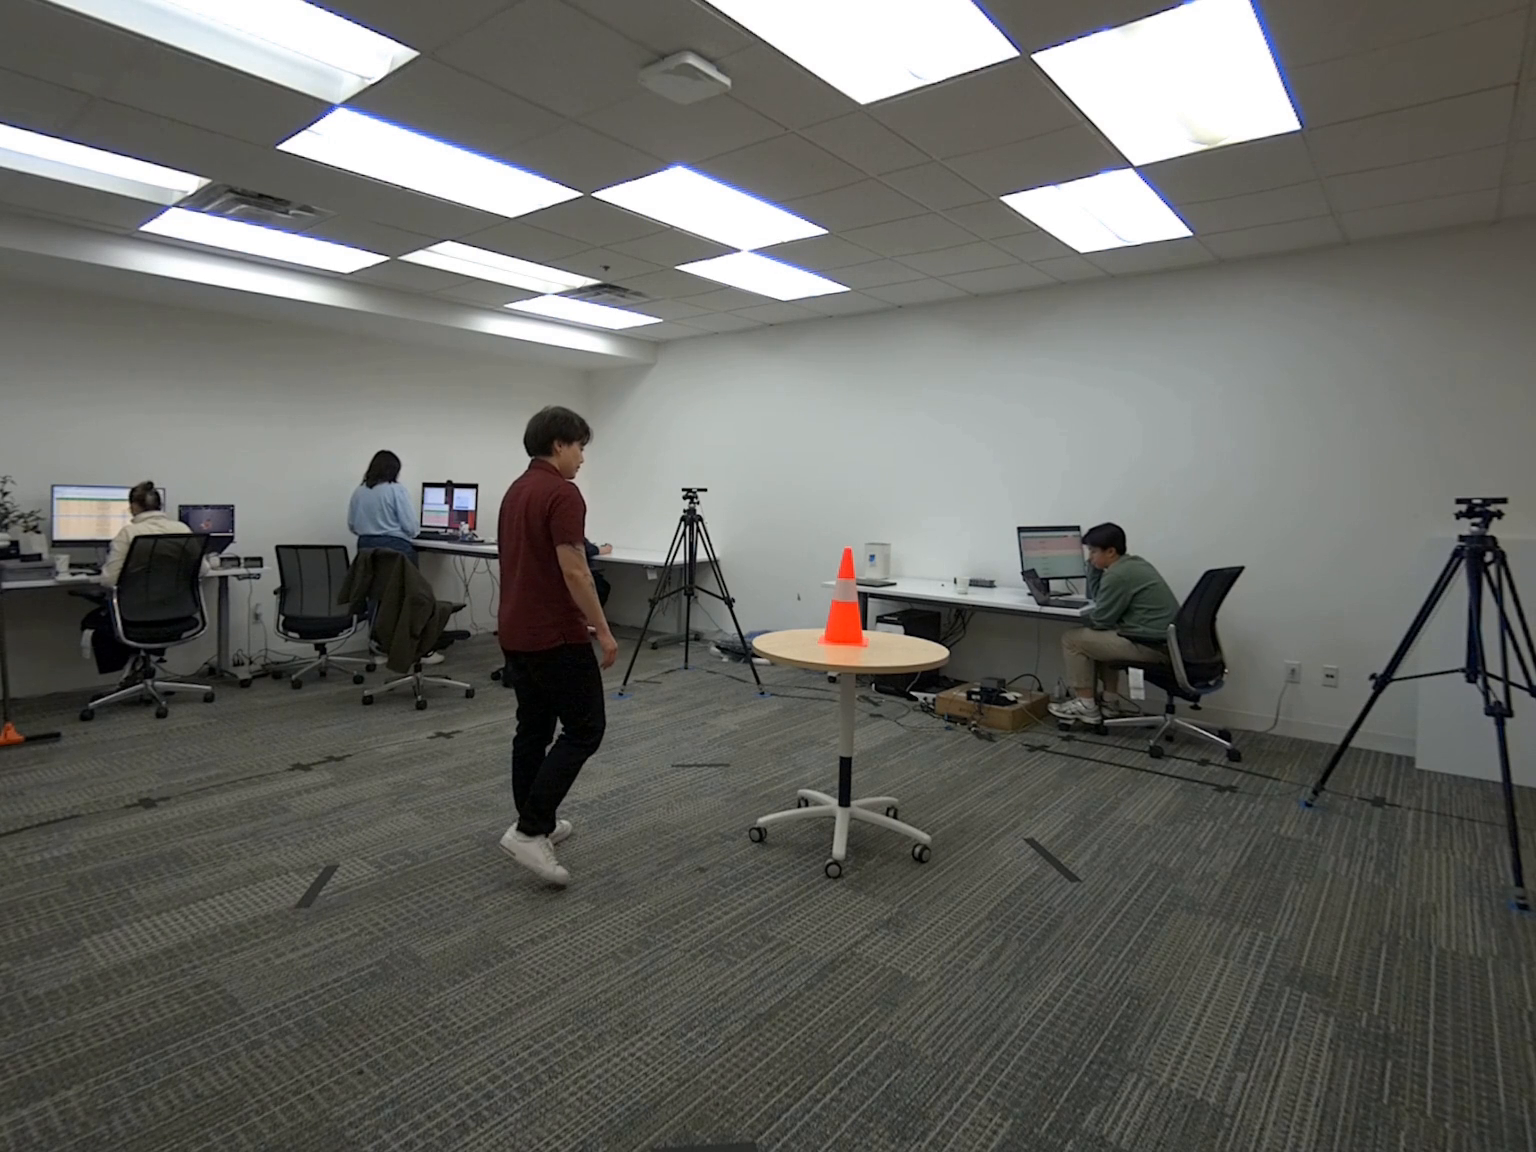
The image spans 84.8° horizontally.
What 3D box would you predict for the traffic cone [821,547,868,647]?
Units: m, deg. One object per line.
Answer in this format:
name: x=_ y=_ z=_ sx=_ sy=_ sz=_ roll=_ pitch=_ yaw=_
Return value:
traffic cone: x=0.310 y=0.077 z=3.446 sx=0.207 sy=0.382 sz=0.203 roll=3 pitch=5 yaw=6
